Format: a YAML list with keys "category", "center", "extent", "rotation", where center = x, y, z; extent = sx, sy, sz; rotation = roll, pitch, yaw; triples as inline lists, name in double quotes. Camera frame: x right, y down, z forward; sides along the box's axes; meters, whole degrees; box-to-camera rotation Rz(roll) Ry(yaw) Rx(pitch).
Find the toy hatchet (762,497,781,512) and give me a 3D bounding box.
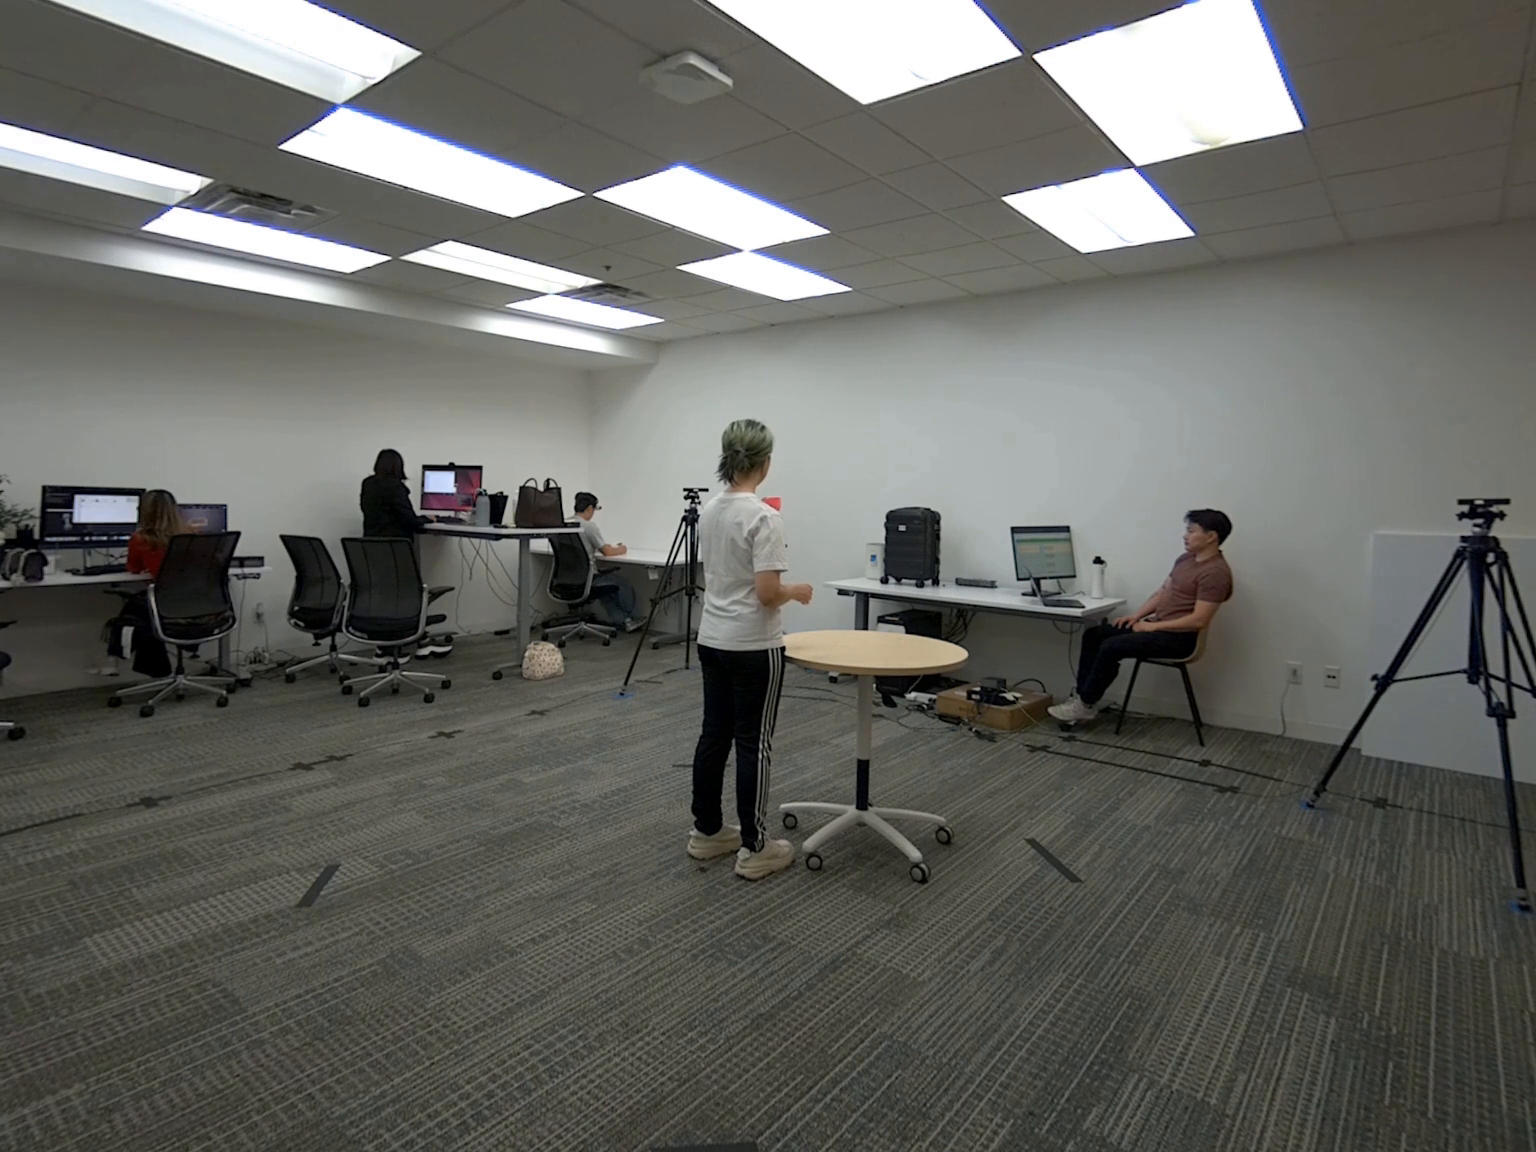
- category: "toy hatchet"
  center: [0.034, -0.225, 3.444]
  extent: [0.131, 0.281, 0.028]
  rotation: [-35, -39, 4]
